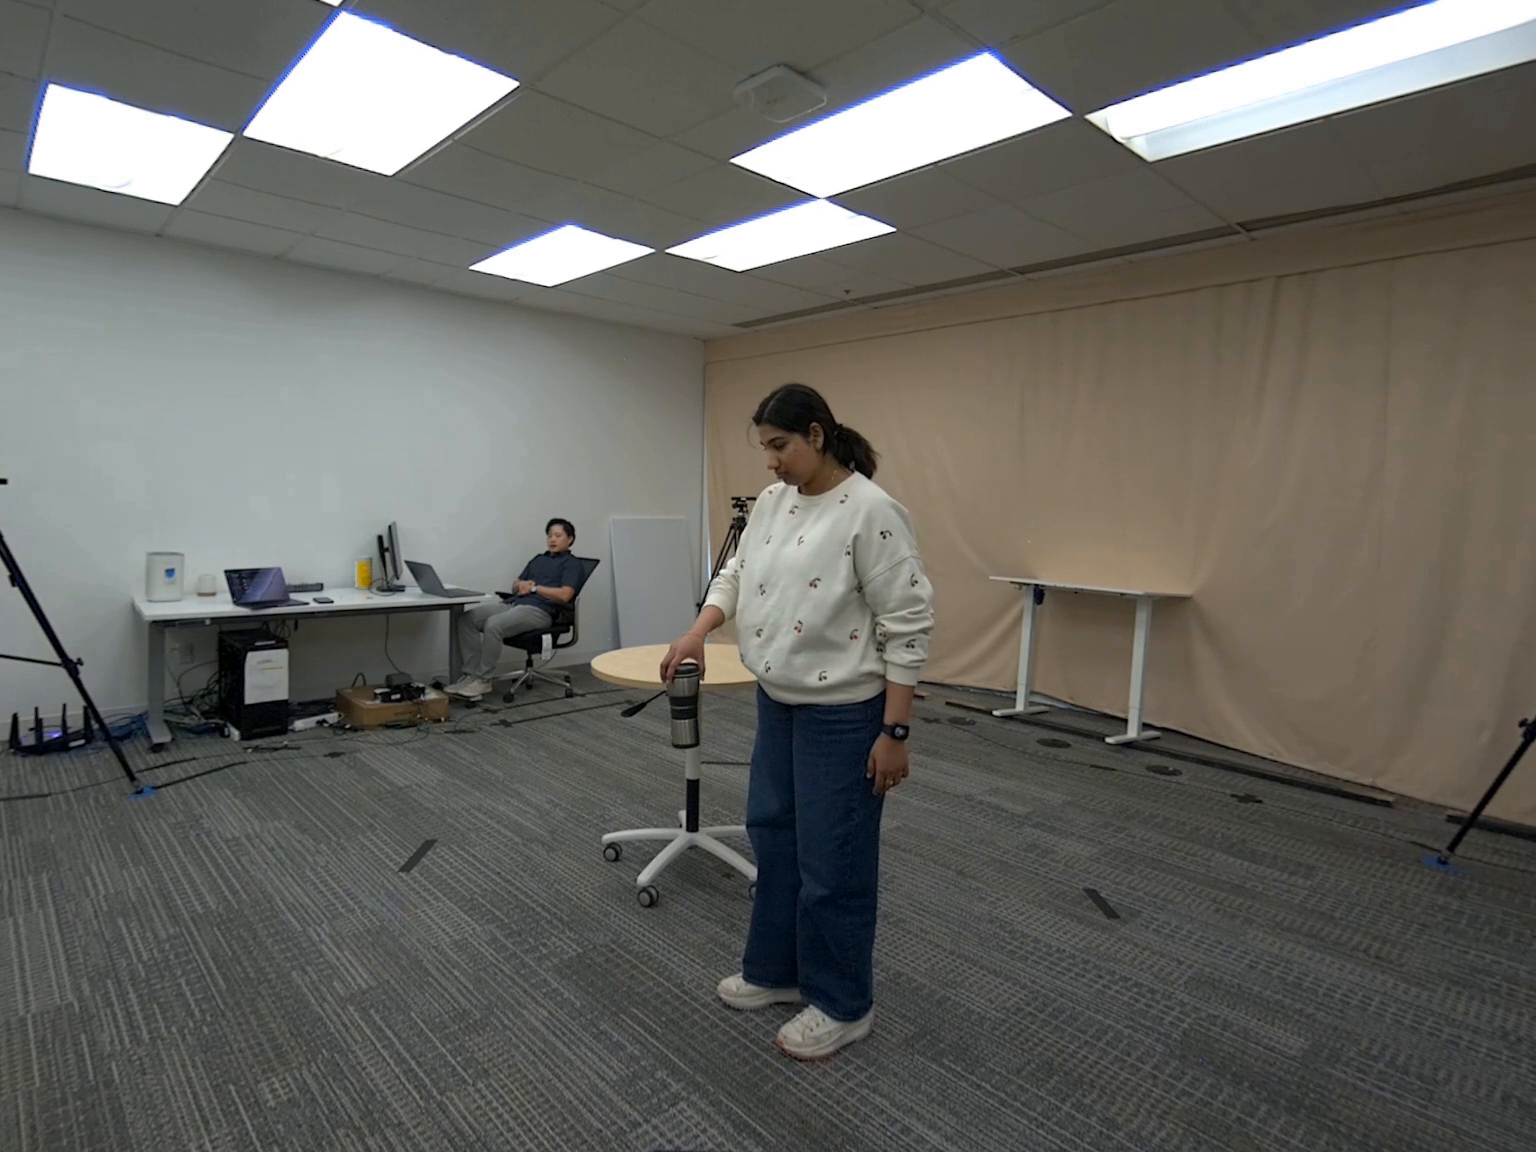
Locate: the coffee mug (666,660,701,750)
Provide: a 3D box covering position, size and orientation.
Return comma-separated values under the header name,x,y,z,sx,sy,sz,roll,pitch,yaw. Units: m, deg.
name,x,y,z,sx,sy,sz,roll,pitch,yaw
coffee mug,-0.194,0.336,2.137,0.119,0.202,0.090,-4,4,-31
